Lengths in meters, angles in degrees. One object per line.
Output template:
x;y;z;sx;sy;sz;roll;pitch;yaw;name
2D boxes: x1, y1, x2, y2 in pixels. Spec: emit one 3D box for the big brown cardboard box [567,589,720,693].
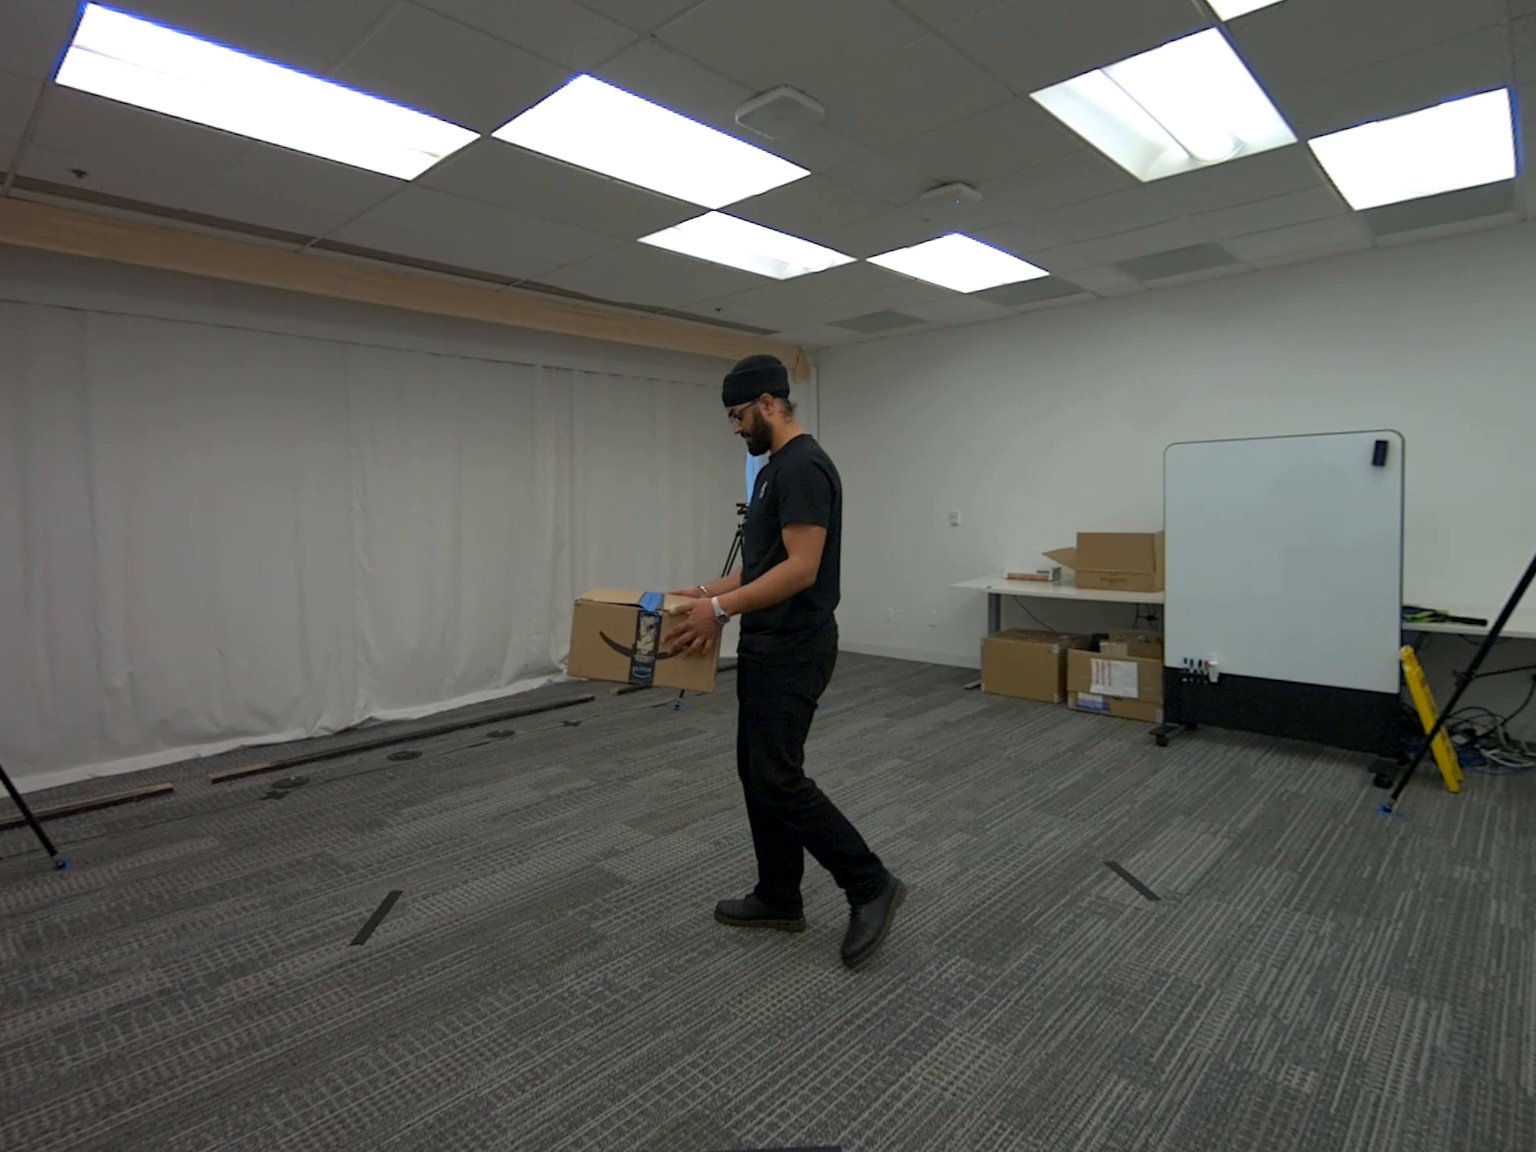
-0.363;0.180;2.613;0.416;0.233;0.592;5;1;-5;big brown cardboard box
